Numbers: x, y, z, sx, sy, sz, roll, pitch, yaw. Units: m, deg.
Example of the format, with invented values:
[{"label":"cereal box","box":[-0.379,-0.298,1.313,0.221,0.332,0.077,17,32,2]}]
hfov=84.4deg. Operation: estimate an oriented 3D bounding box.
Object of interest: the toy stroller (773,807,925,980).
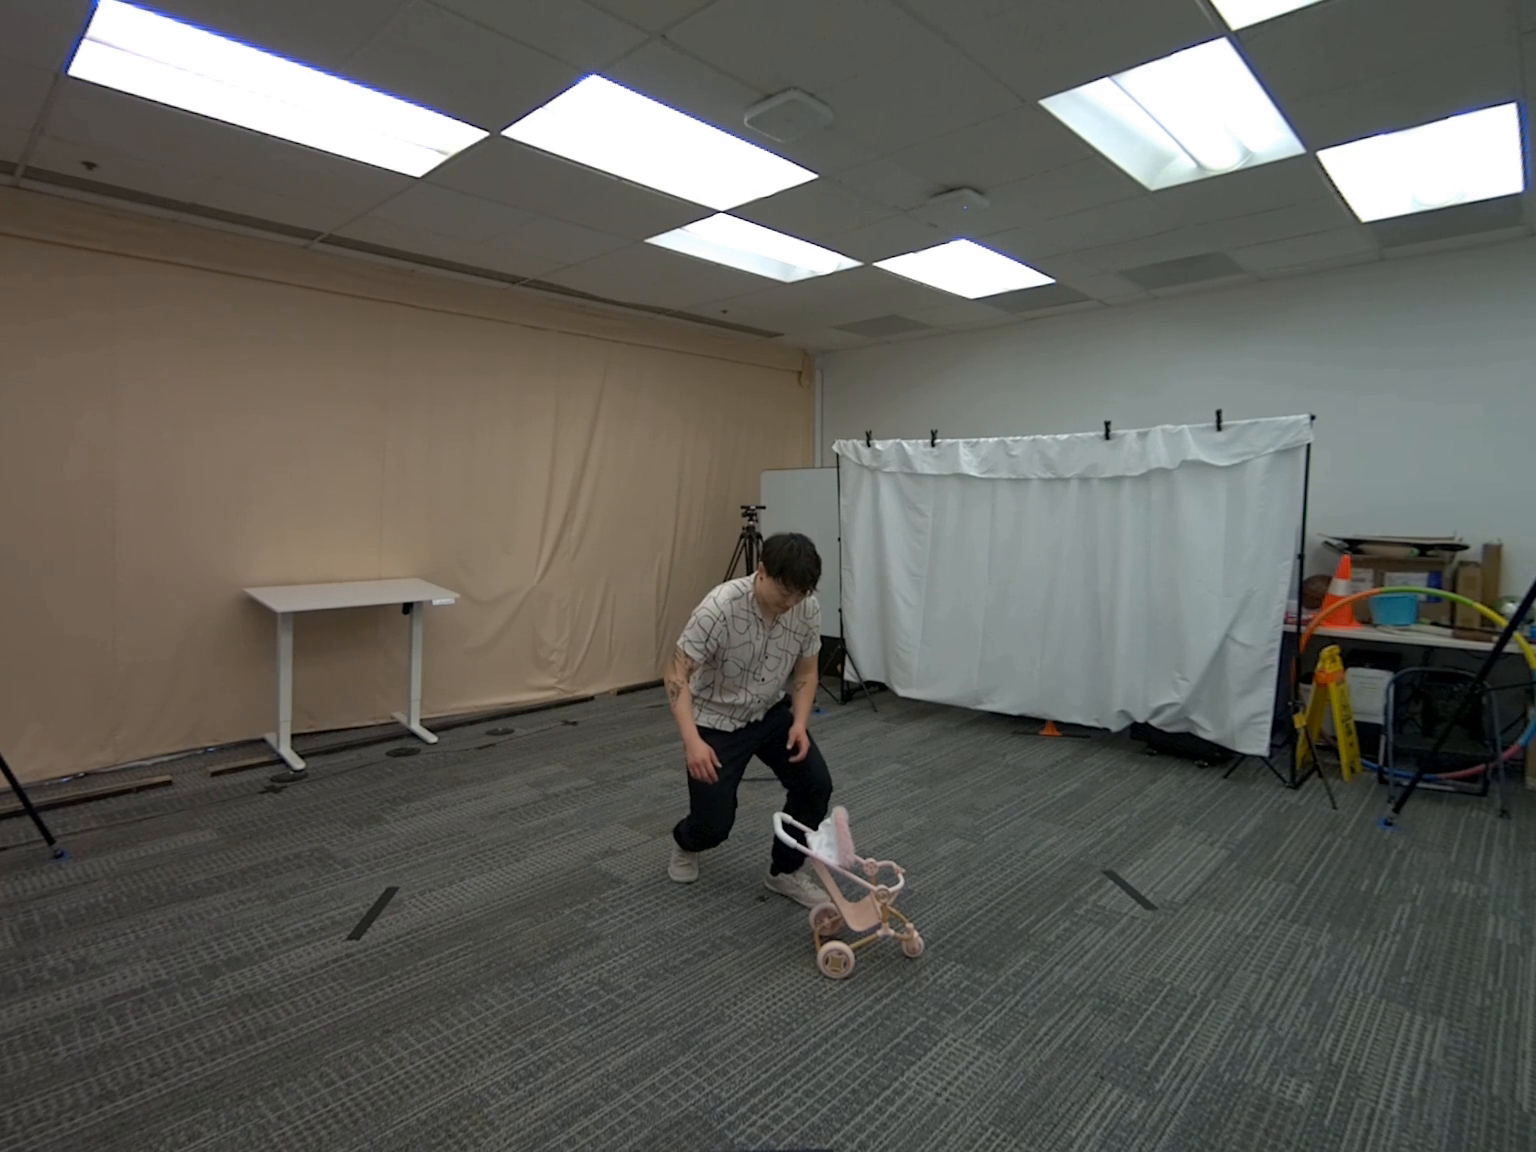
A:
[{"label":"toy stroller","box":[0.258,0.951,2.592,0.343,0.534,0.280,-17,2,5]}]
